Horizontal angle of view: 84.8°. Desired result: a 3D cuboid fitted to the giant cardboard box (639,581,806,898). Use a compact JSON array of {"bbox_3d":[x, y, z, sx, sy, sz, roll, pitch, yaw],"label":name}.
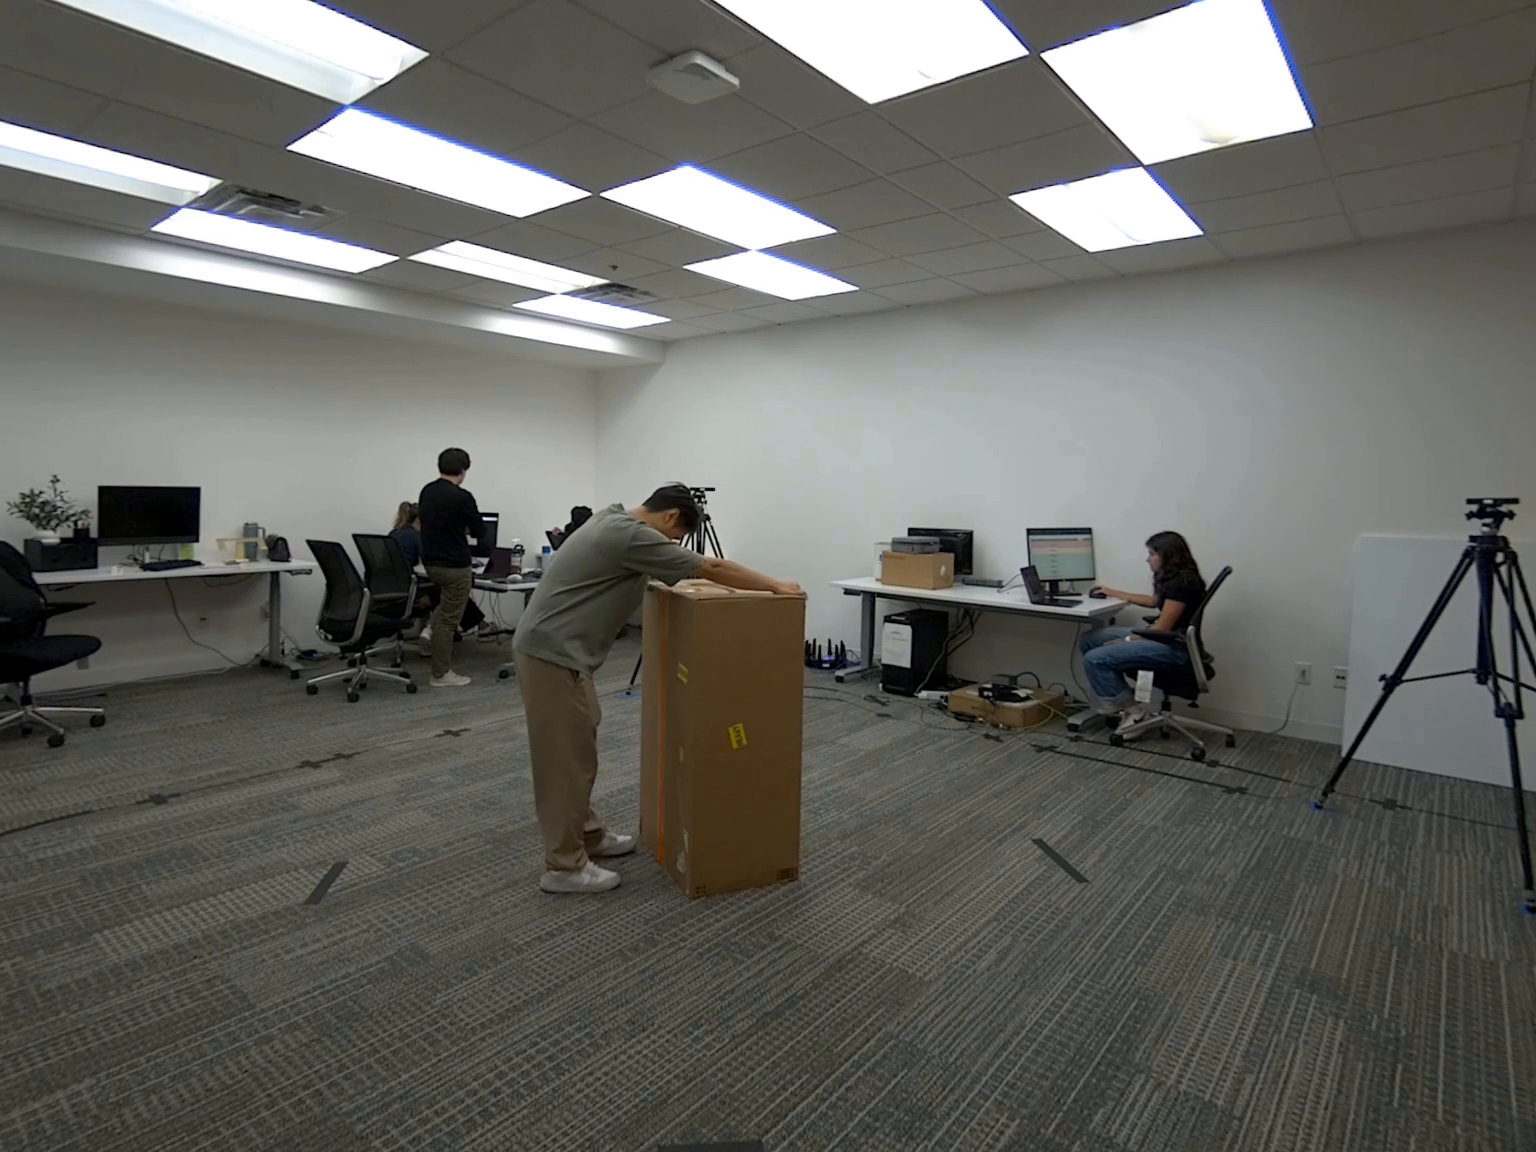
[{"bbox_3d":[-0.195,0.546,3.187,0.416,1.023,0.593,0,4,-25],"label":"giant cardboard box"}]
